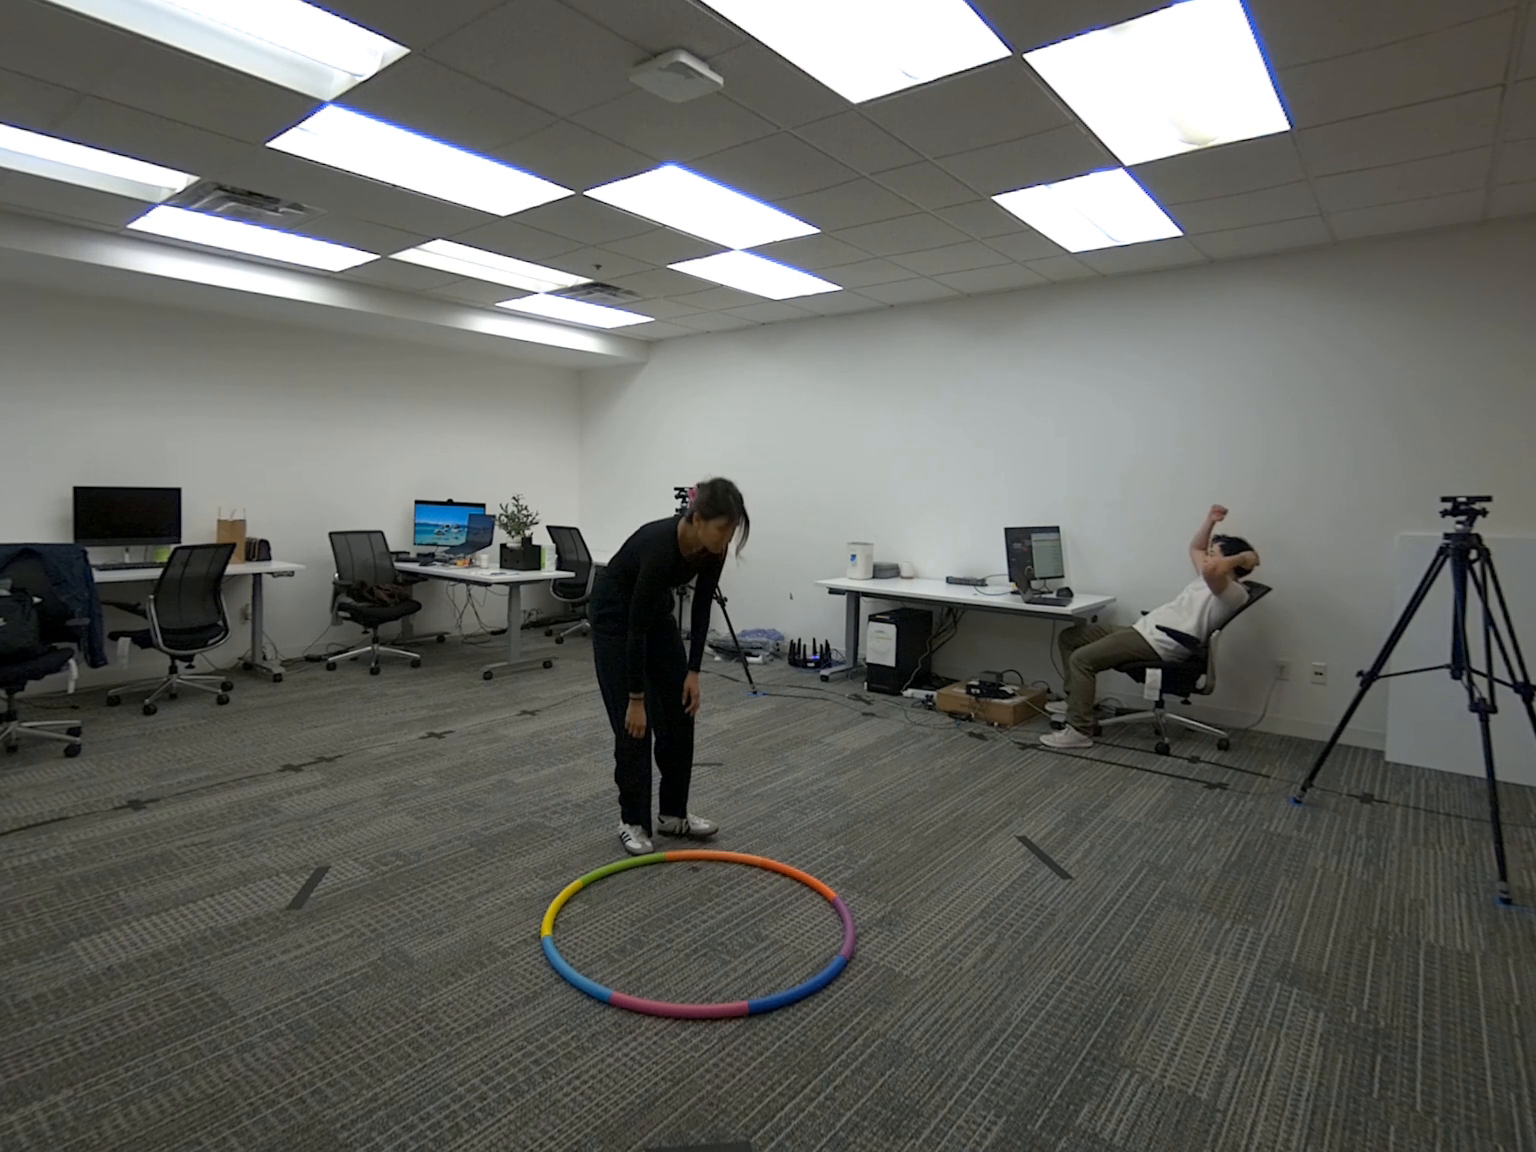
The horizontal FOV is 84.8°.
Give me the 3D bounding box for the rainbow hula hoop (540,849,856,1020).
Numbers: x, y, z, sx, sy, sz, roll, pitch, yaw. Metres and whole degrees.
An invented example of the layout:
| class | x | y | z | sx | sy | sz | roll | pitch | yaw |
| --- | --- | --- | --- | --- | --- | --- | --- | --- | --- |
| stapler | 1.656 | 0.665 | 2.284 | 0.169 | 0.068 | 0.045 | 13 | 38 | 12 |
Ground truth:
| class | x | y | z | sx | sy | sz | roll | pitch | yaw |
| --- | --- | --- | --- | --- | --- | --- | --- | --- | --- |
| rainbow hula hoop | -0.228 | 1.076 | 2.704 | 0.978 | 0.035 | 0.984 | 1 | 6 | -2 |
